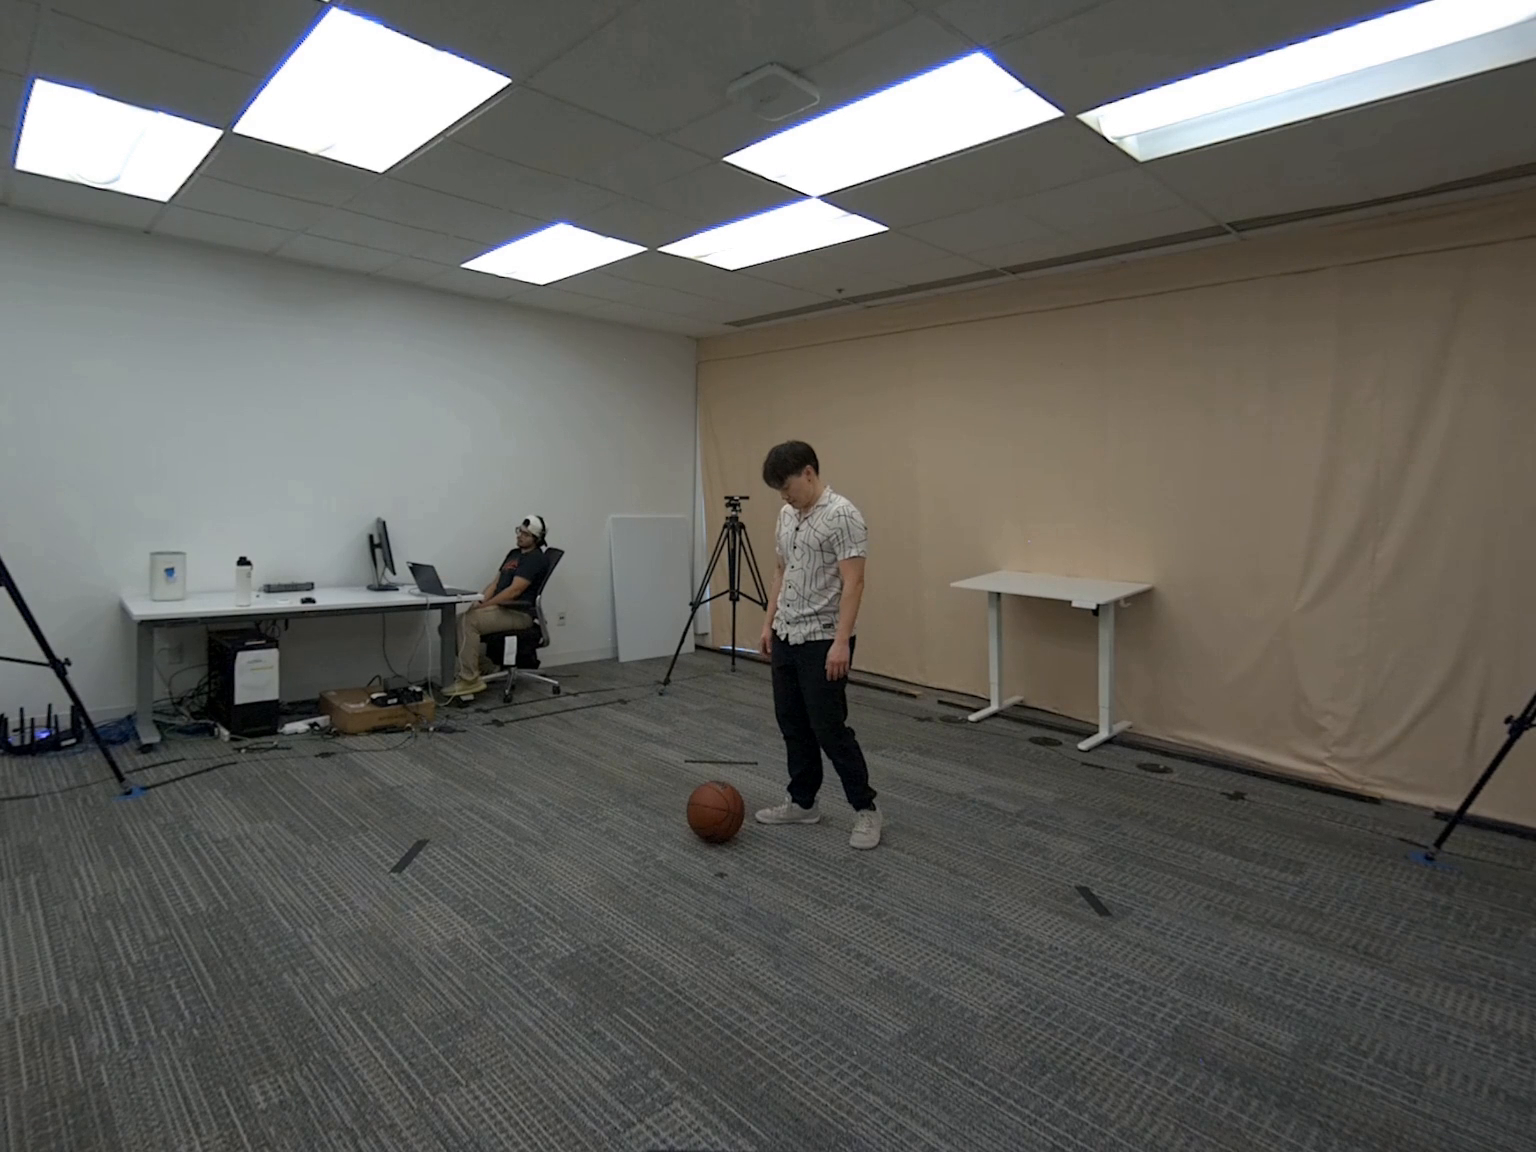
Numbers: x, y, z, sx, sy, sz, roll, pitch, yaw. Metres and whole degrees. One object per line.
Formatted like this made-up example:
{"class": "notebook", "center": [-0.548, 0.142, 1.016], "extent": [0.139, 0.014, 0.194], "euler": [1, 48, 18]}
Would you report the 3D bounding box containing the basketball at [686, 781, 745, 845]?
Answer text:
{"class": "basketball", "center": [-0.219, 0.953, 3.418], "extent": [0.236, 0.235, 0.237], "euler": [1, 4, -1]}
